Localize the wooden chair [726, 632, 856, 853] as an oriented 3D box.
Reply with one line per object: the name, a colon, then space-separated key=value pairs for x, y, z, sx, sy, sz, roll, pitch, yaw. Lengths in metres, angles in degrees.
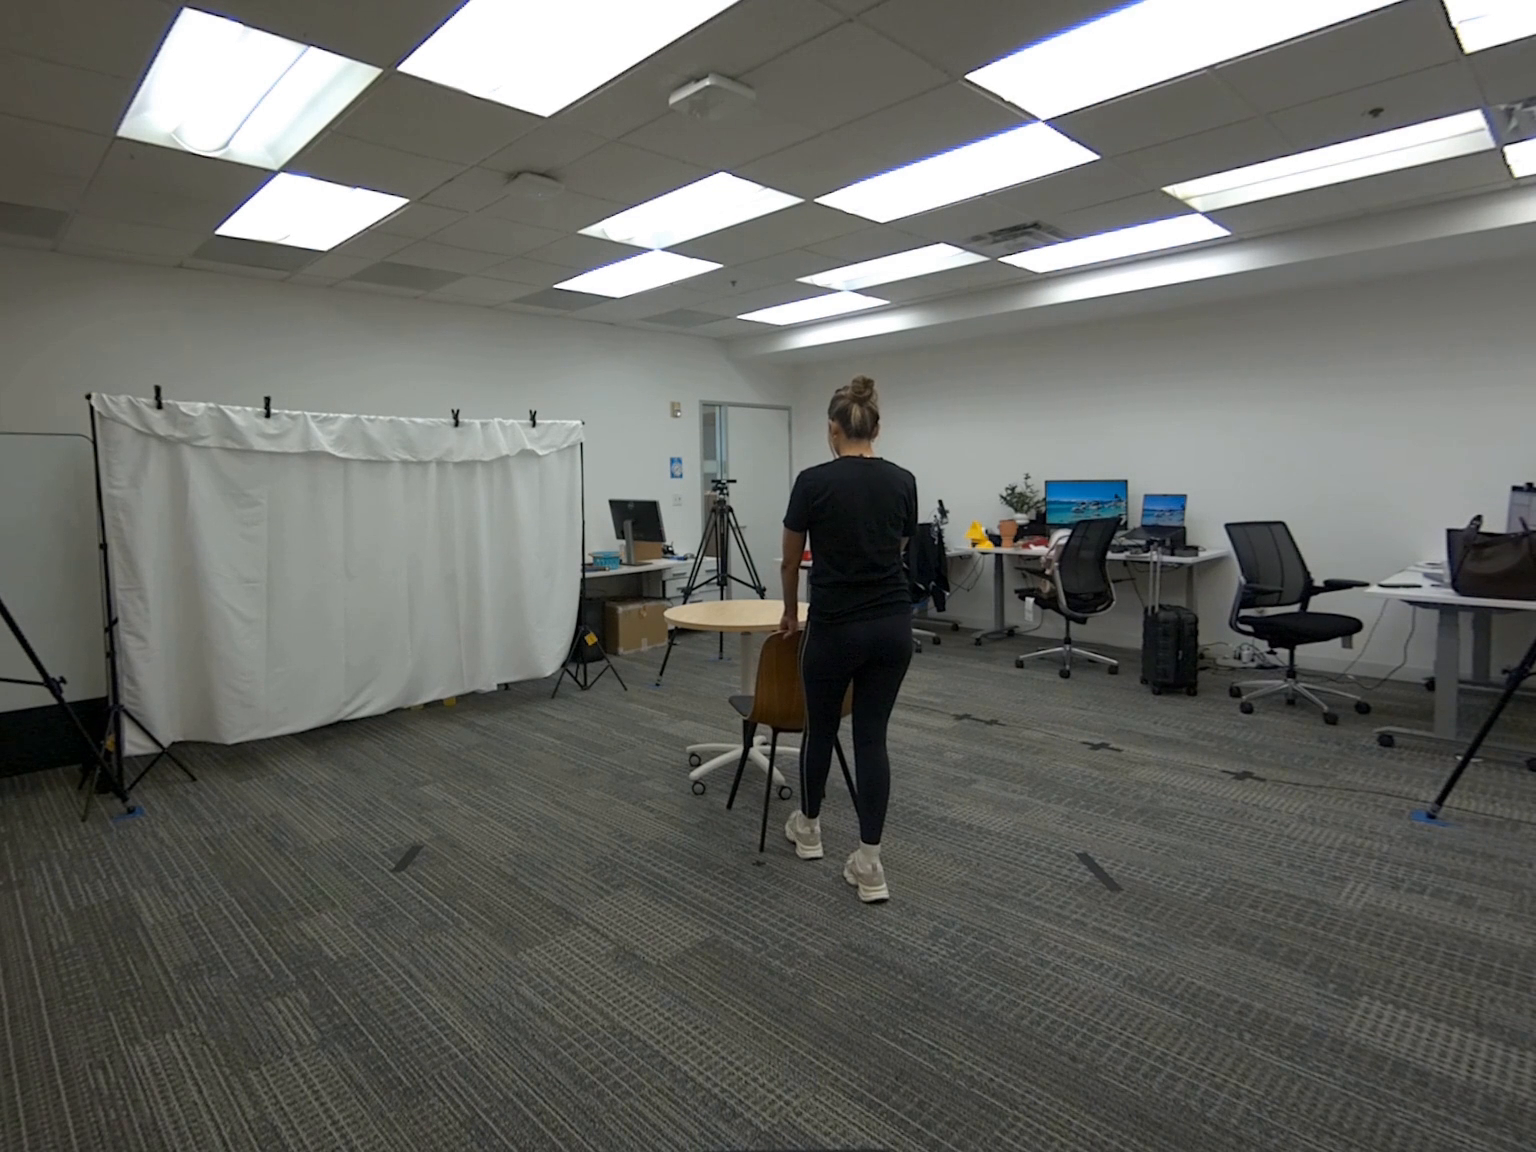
wooden chair: x=0.102 y=0.580 z=3.448 sx=0.471 sy=0.870 sz=0.535 roll=-3 pitch=9 yaw=-17
